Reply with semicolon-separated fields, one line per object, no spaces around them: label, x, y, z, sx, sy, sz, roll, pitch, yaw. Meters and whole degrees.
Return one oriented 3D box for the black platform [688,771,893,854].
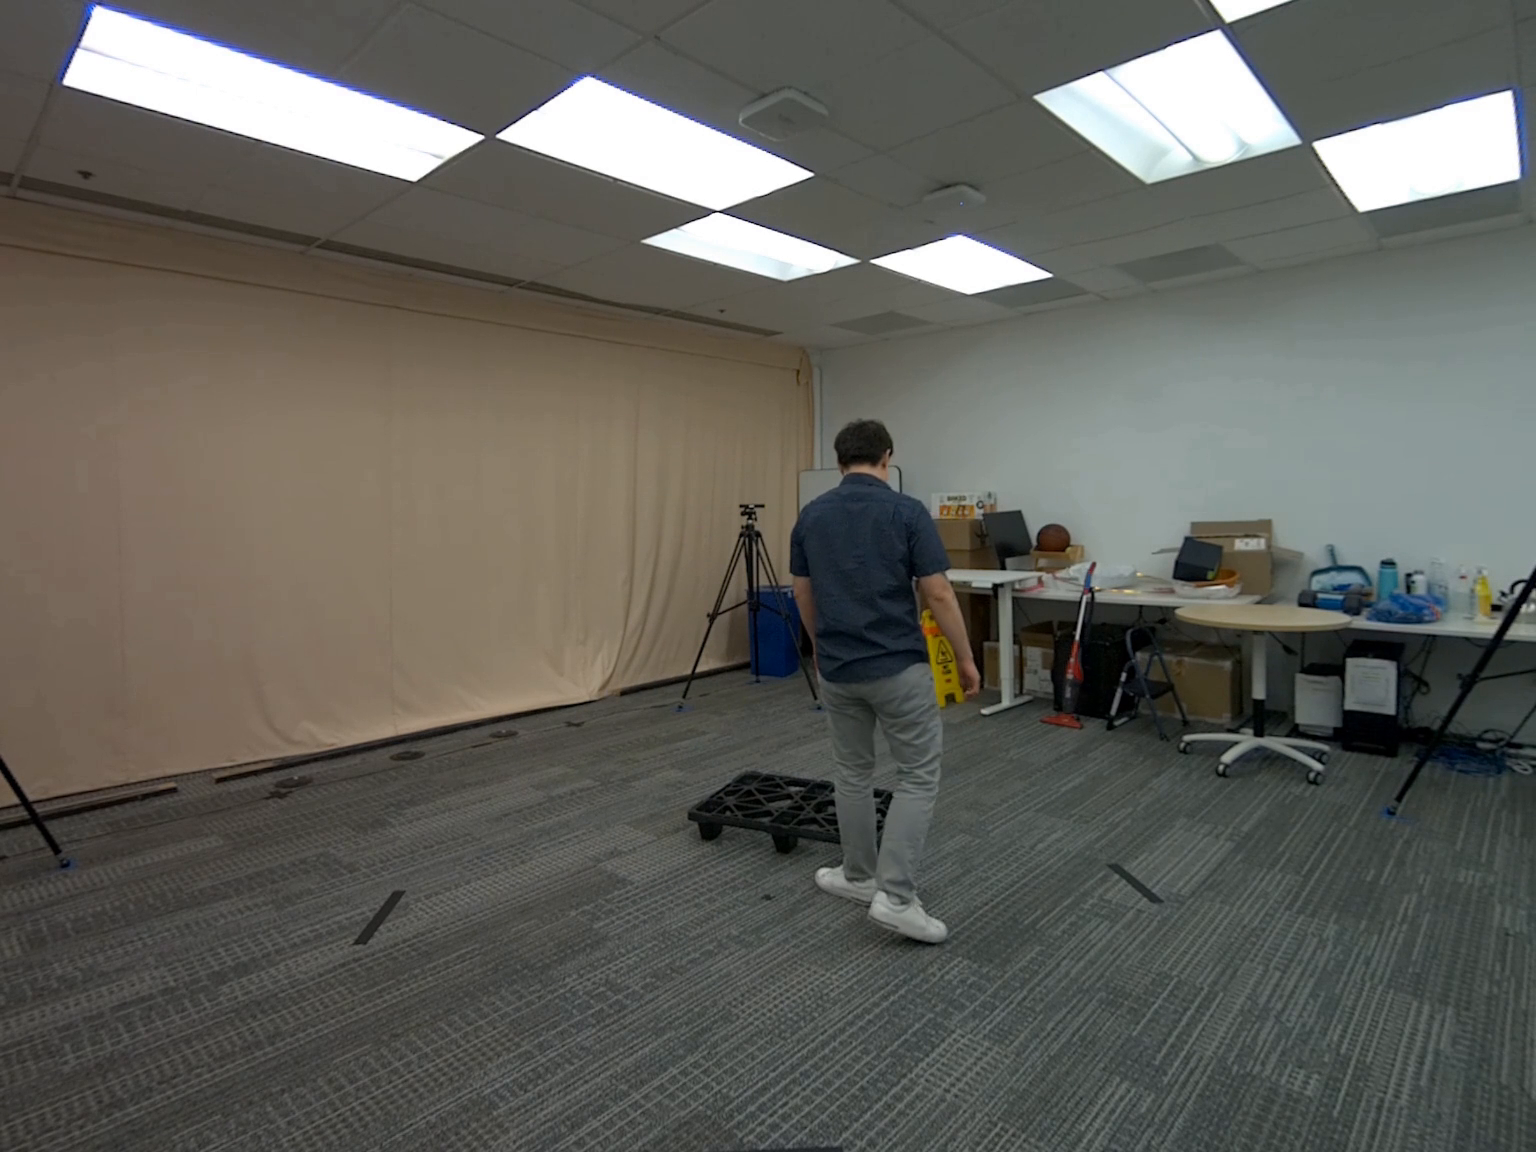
black platform;0.150;1.016;3.550;0.826;0.143;0.591;1;5;25
